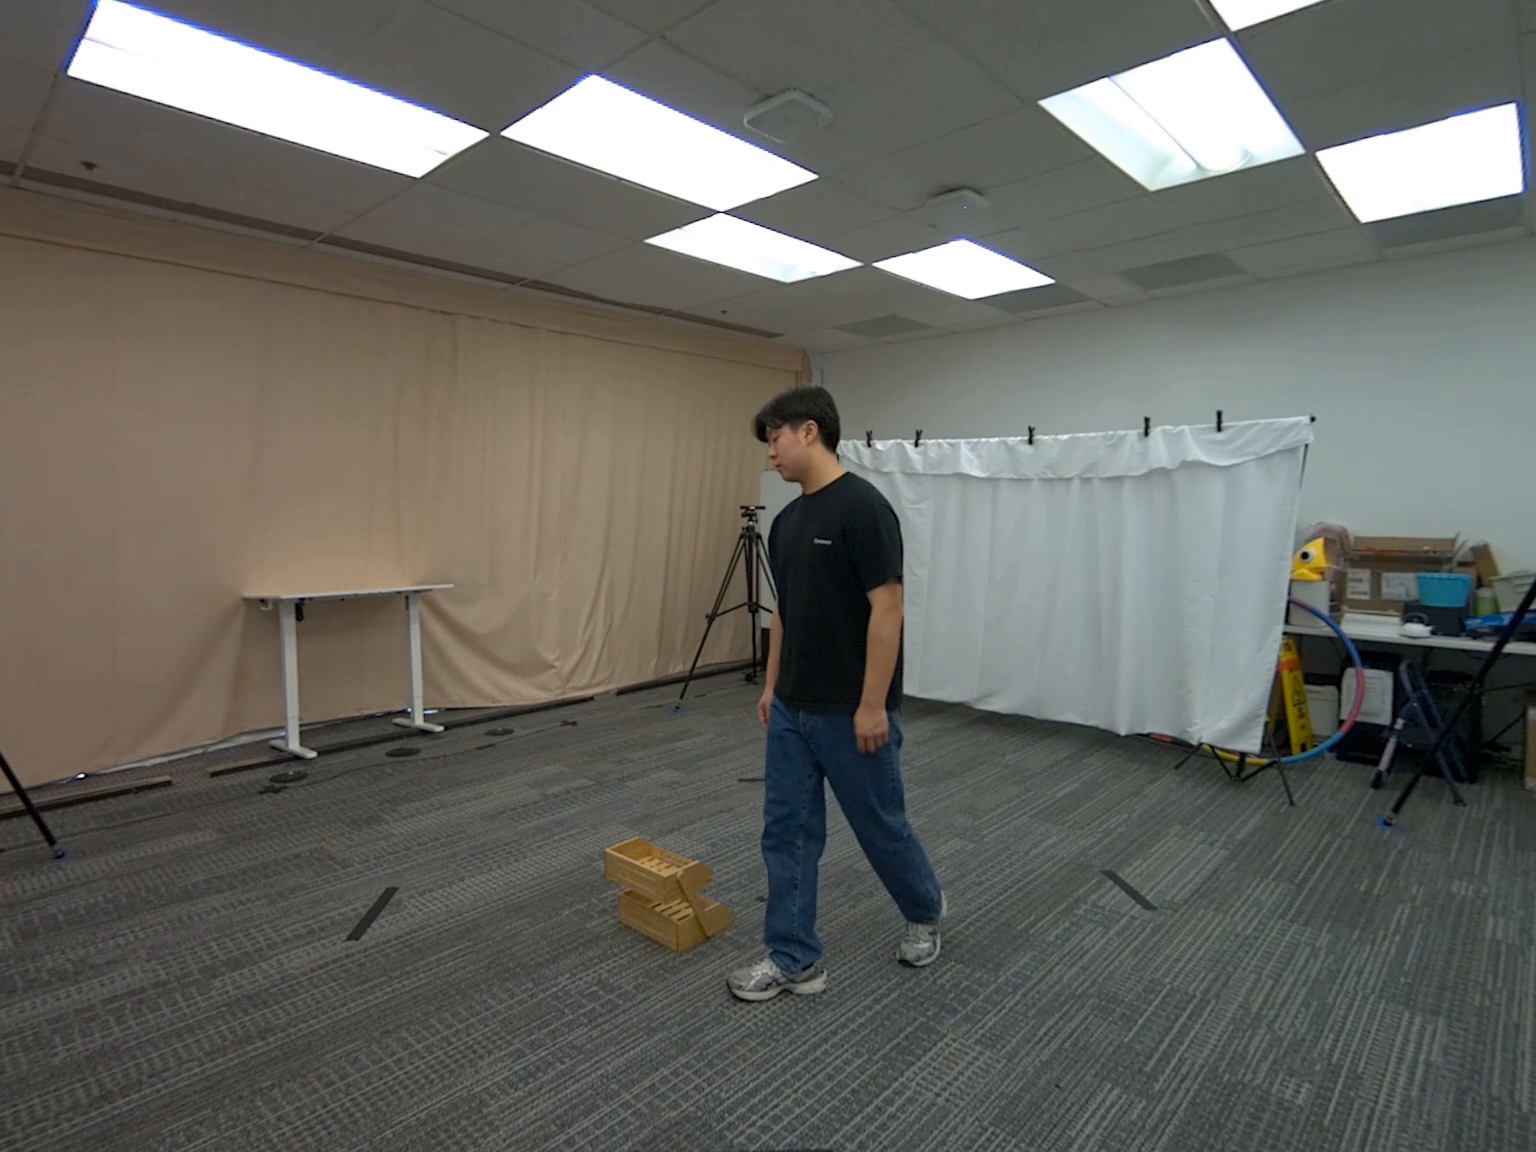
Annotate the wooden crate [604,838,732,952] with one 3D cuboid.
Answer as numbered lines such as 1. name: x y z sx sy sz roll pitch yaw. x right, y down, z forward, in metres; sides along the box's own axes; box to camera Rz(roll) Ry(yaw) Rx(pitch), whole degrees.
1. wooden crate: -0.327 1.031 2.789 0.335 0.272 0.293 3 6 42
